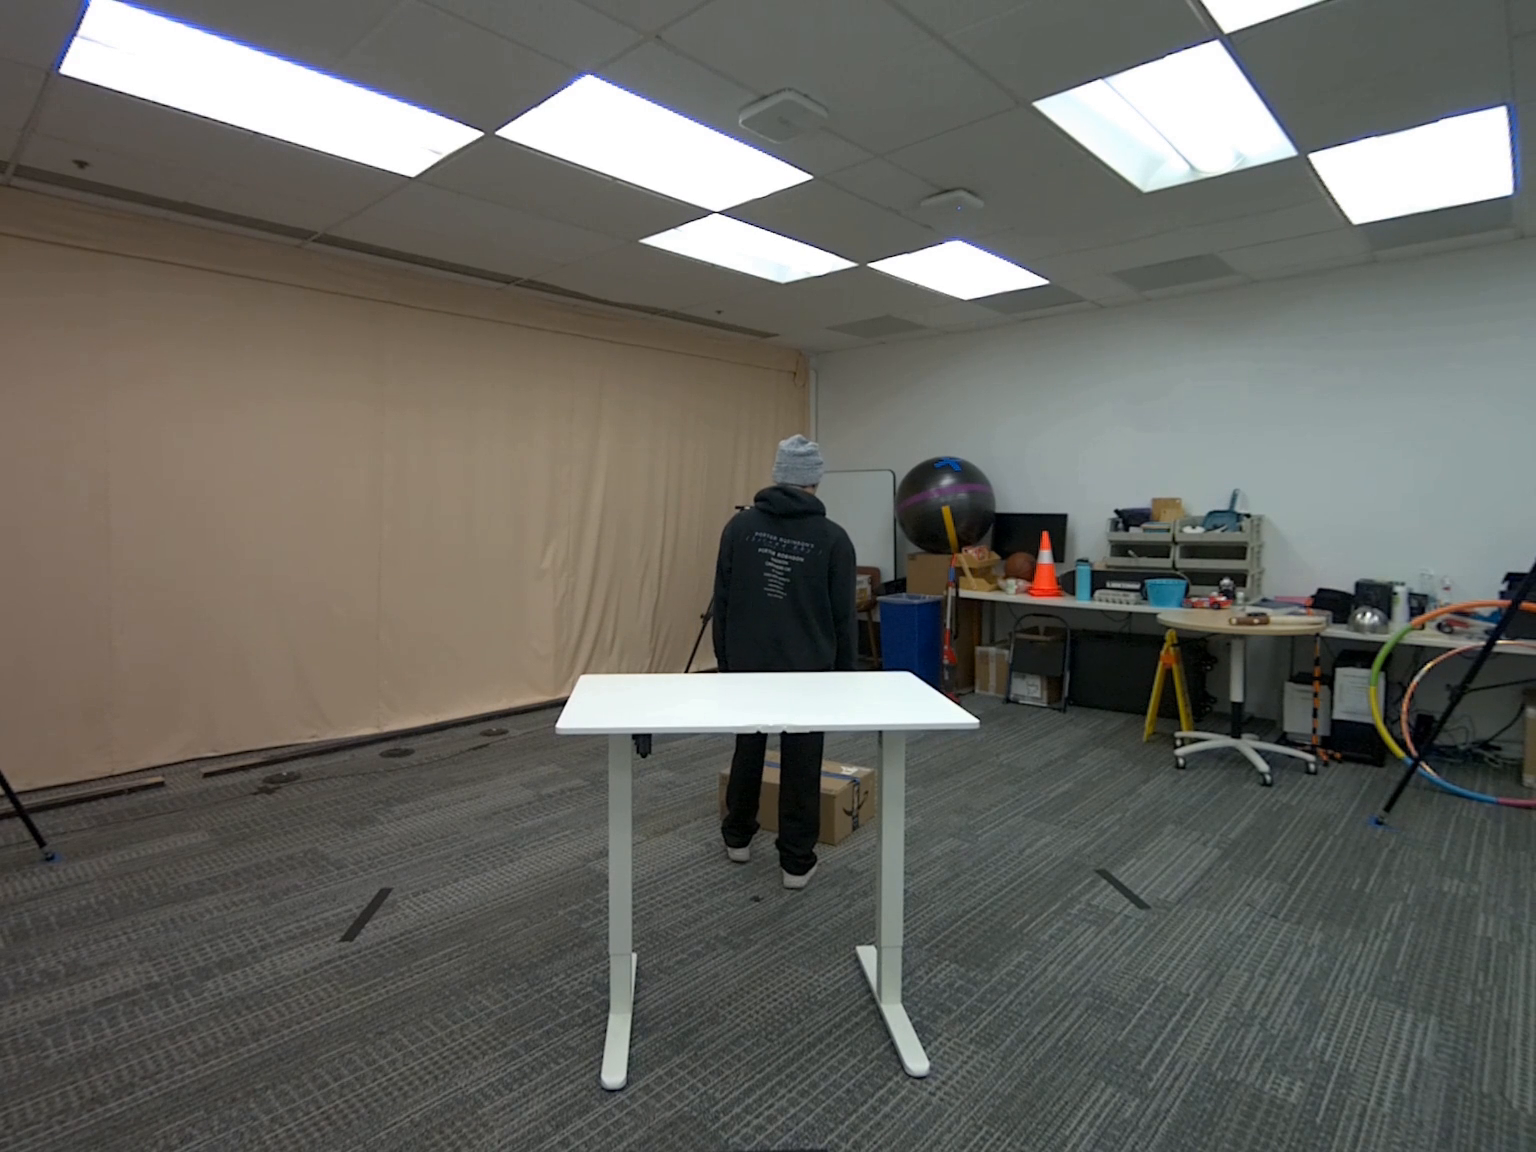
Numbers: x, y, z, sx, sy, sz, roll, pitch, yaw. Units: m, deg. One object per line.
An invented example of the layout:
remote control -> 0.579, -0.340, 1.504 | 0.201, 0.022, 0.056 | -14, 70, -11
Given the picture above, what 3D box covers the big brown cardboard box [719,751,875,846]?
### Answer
big brown cardboard box -> 0.137, 0.971, 3.756 | 0.606, 0.233, 0.406 | 1, 4, 31
